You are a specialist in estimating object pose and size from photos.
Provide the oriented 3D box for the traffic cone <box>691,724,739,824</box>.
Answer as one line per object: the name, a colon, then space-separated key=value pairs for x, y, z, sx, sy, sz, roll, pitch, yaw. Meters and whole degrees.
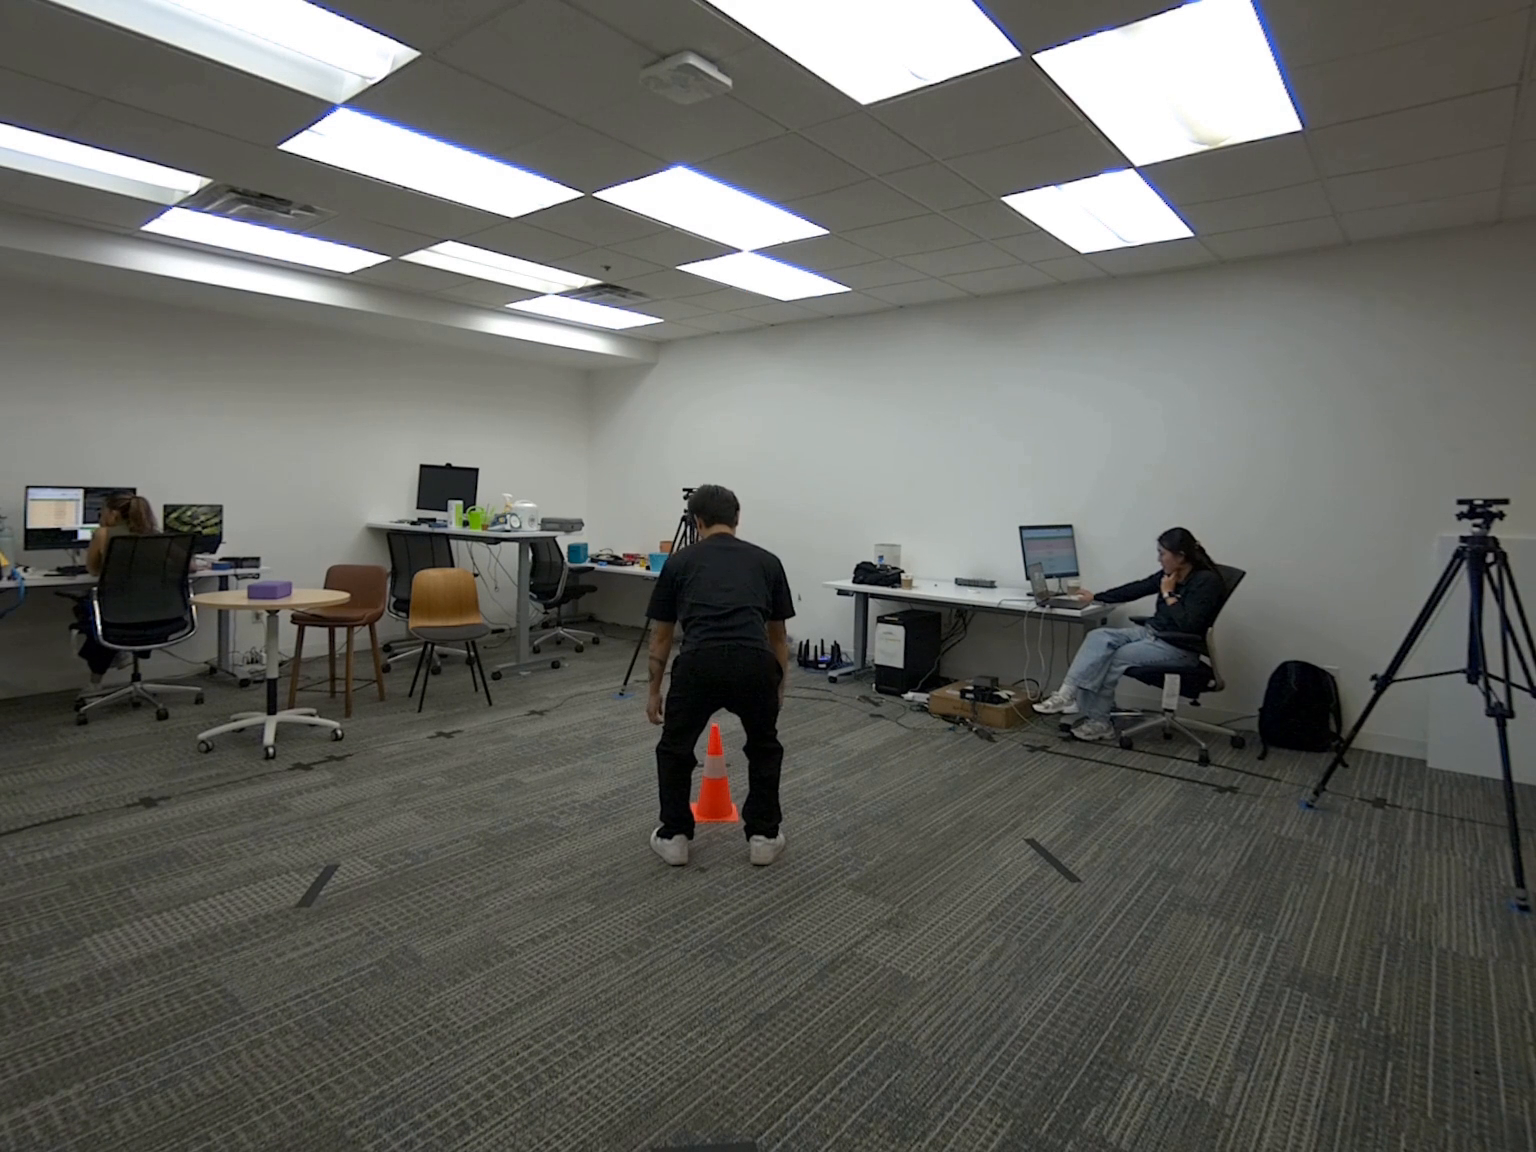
traffic cone: x=-0.234 y=0.831 z=3.660 sx=0.203 sy=0.382 sz=0.205 roll=1 pitch=4 yaw=-8
